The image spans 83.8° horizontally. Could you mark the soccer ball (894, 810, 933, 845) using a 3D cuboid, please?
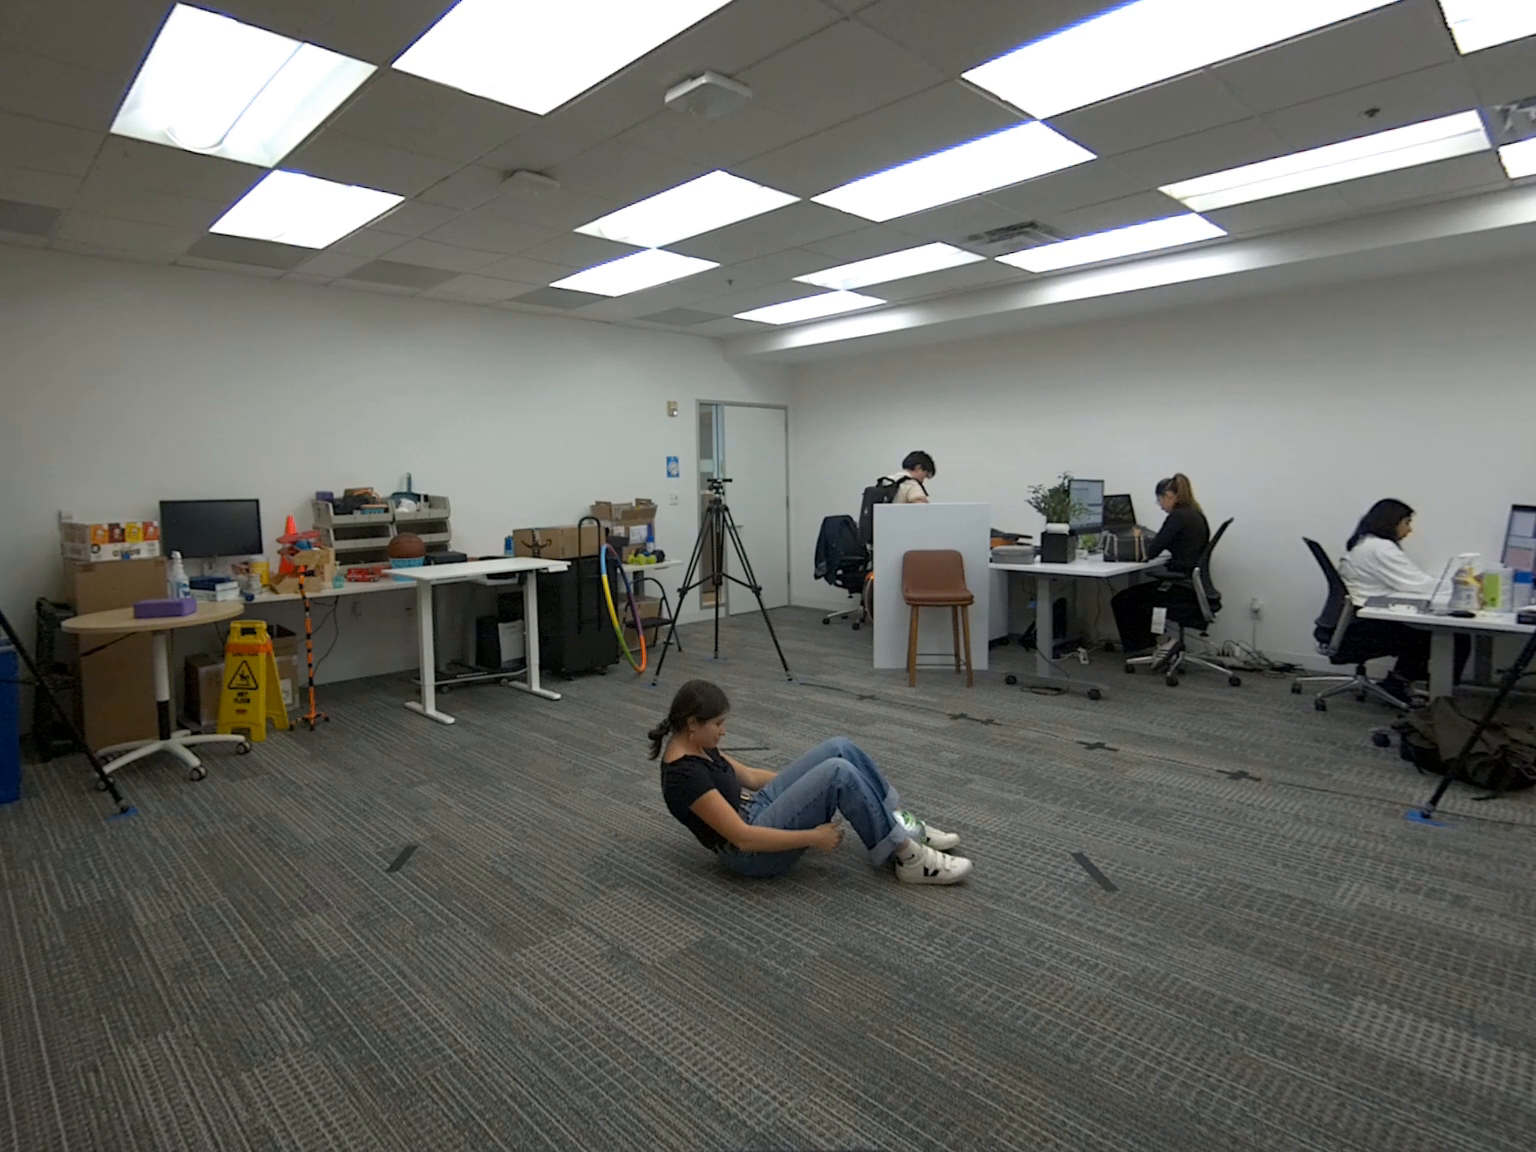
[{"bbox_3d":[0.471,0.935,3.079,0.187,0.187,0.188,0,1,-2],"label":"soccer ball"}]
